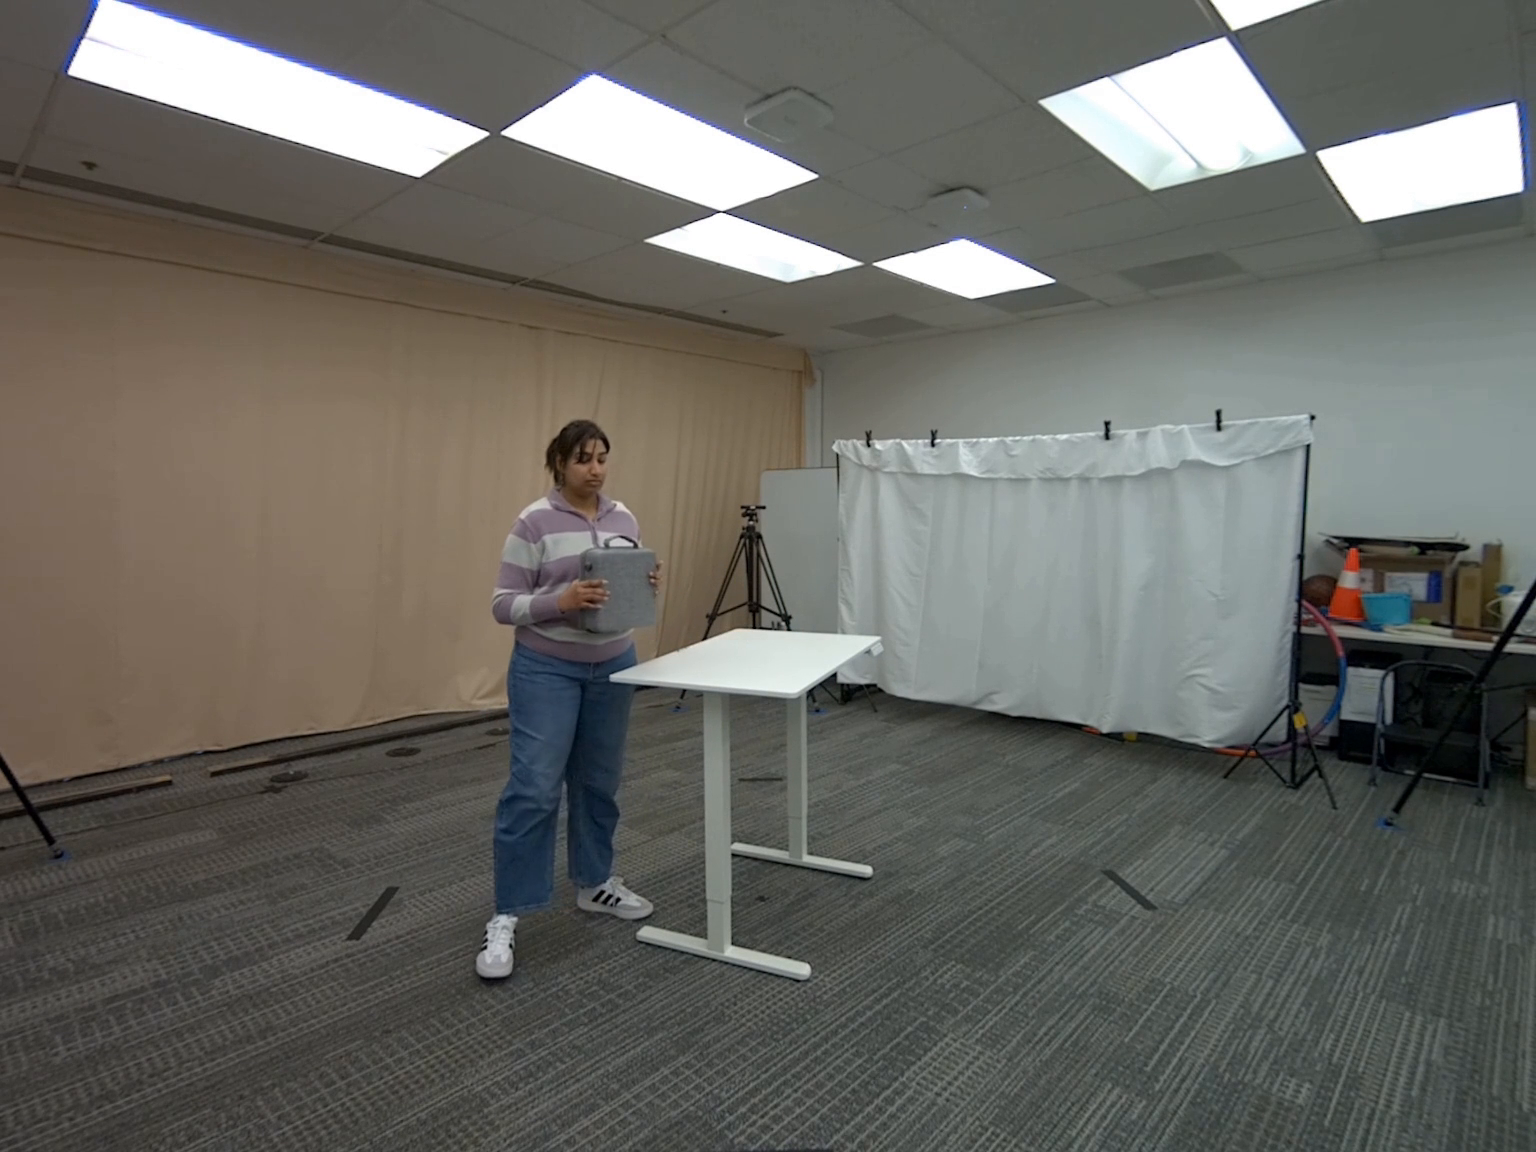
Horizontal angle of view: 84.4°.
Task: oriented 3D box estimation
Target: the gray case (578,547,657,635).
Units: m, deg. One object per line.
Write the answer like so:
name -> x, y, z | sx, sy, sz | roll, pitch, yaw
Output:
gray case -> -0.467, 0.040, 2.592 | 0.108, 0.260, 0.249 | 6, 5, 35
